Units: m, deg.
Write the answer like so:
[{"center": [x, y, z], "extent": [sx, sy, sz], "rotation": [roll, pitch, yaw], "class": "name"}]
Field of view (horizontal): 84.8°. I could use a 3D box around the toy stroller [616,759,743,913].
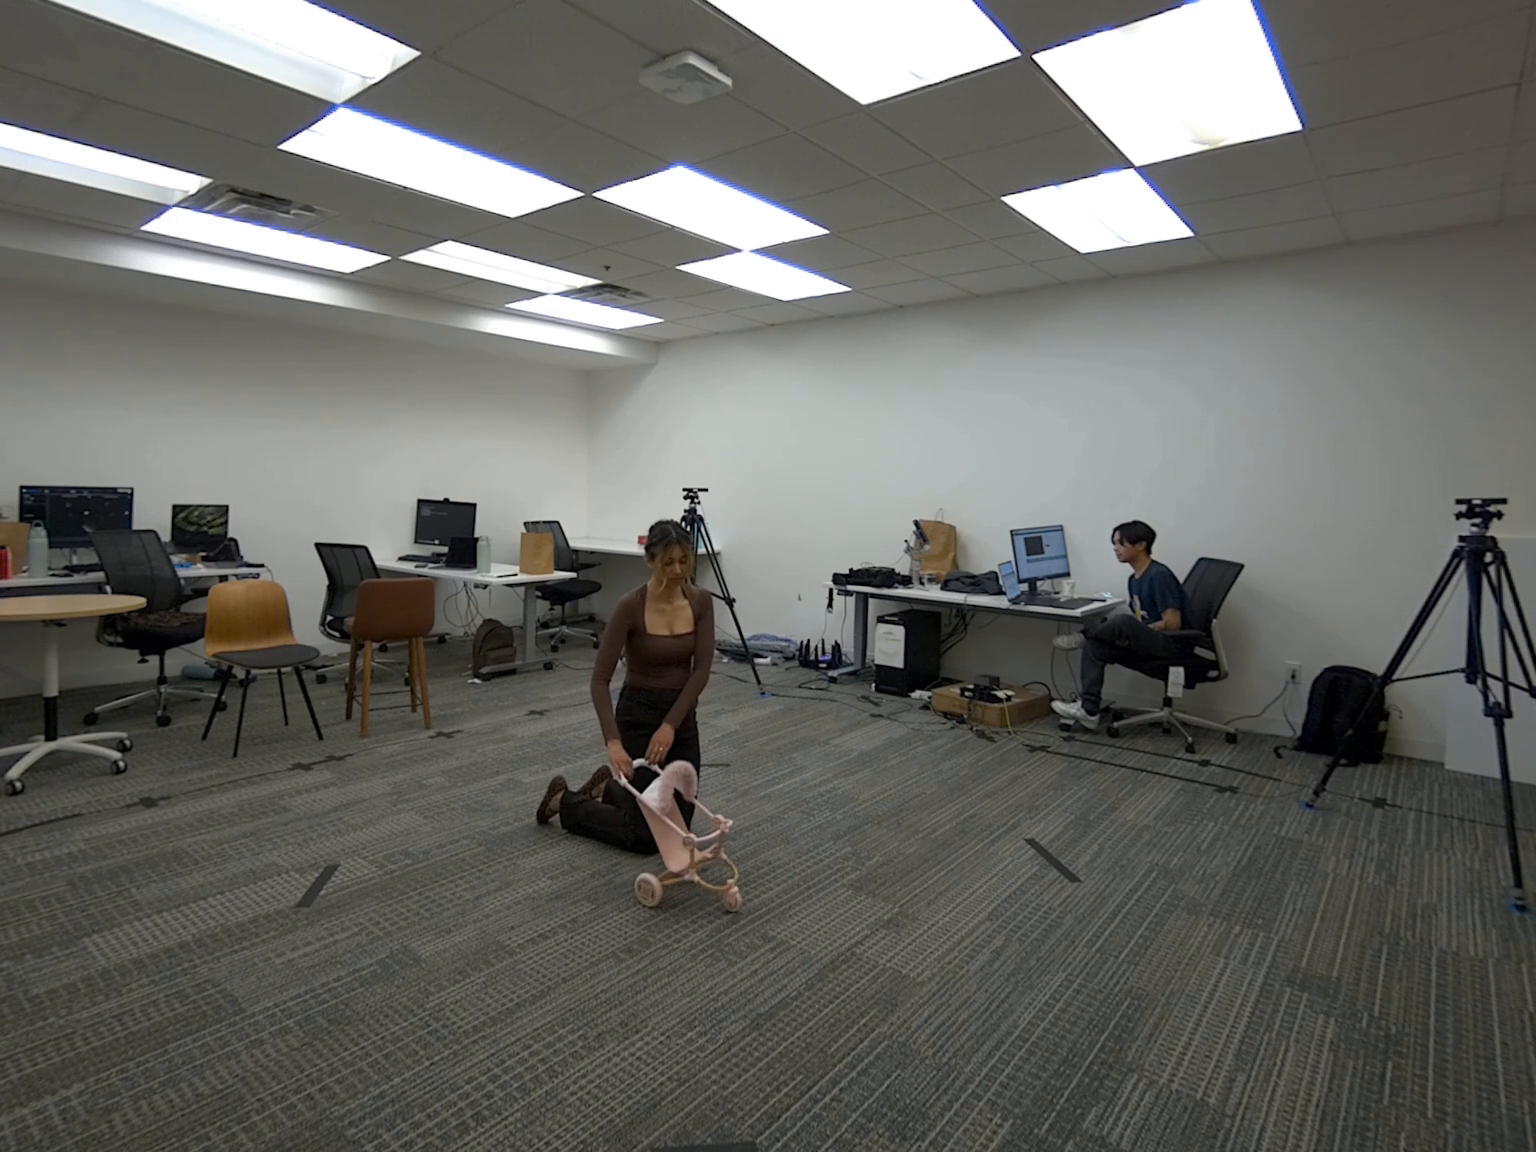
[{"center": [-0.291, 0.865, 2.886], "extent": [0.348, 0.539, 0.274], "rotation": [-18, -7, 32], "class": "toy stroller"}]
